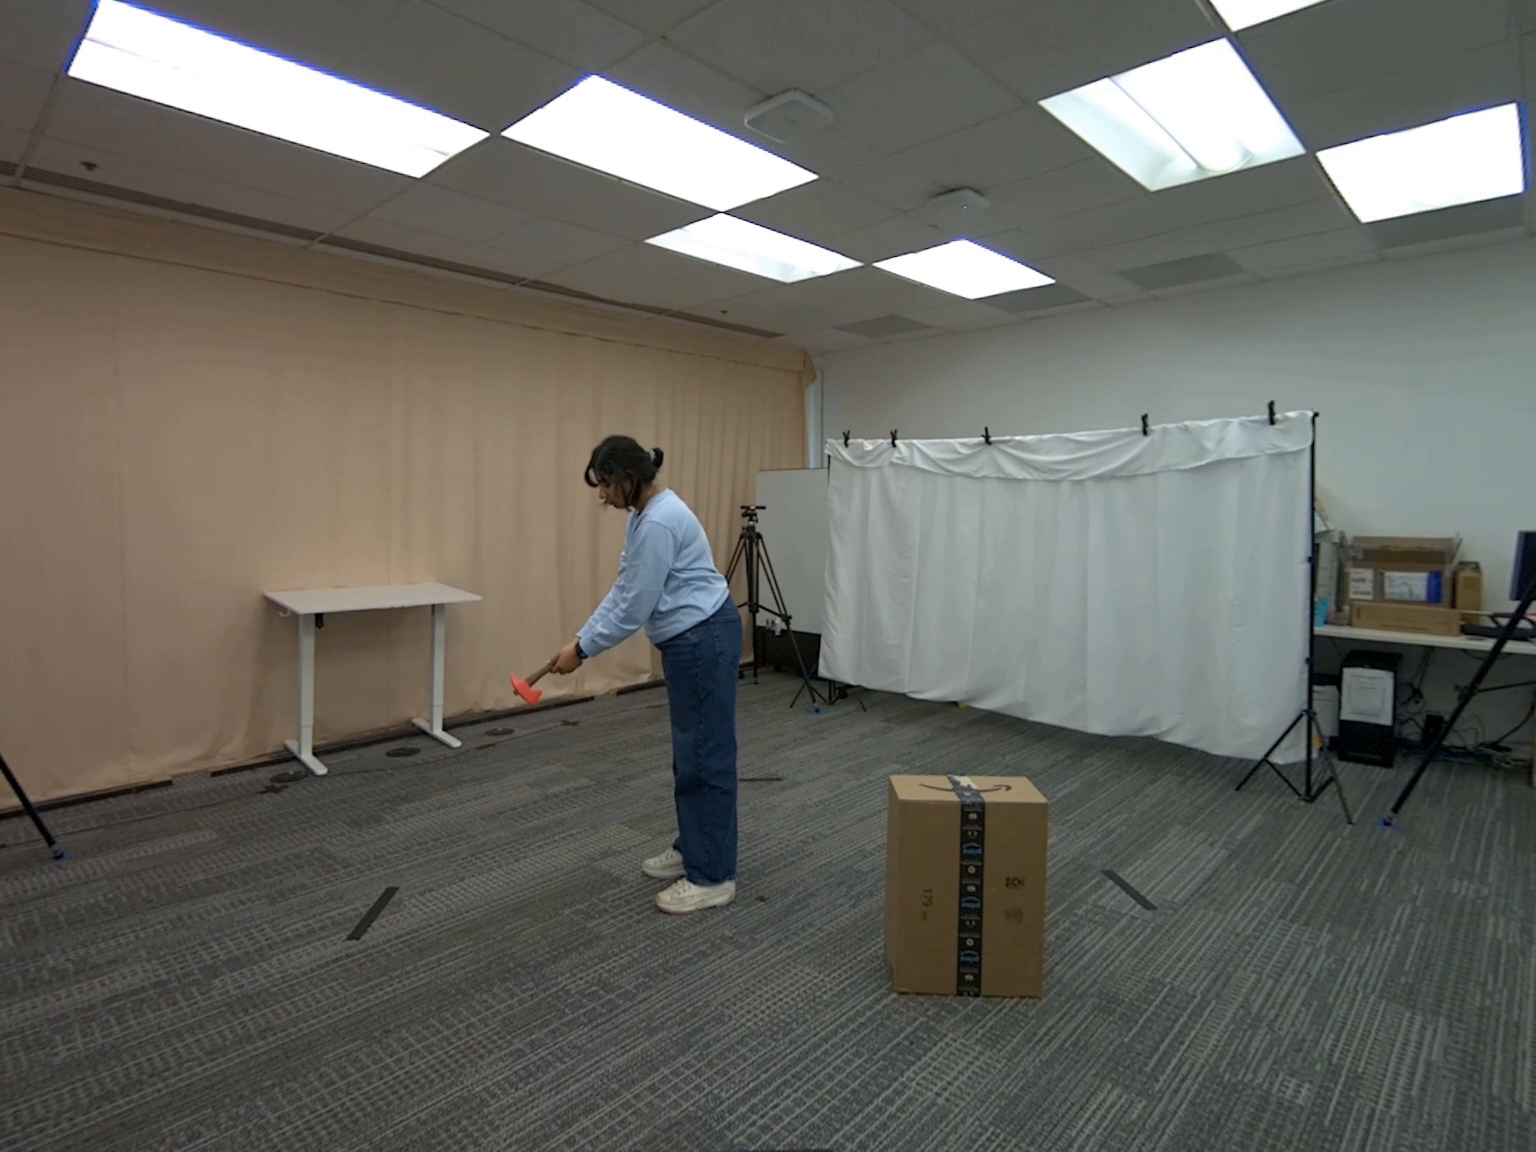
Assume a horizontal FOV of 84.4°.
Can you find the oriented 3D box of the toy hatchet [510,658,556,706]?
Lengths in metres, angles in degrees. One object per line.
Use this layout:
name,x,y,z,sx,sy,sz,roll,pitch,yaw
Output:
toy hatchet,-0.759,0.364,2.981,0.265,0.132,0.030,-17,-11,-23
